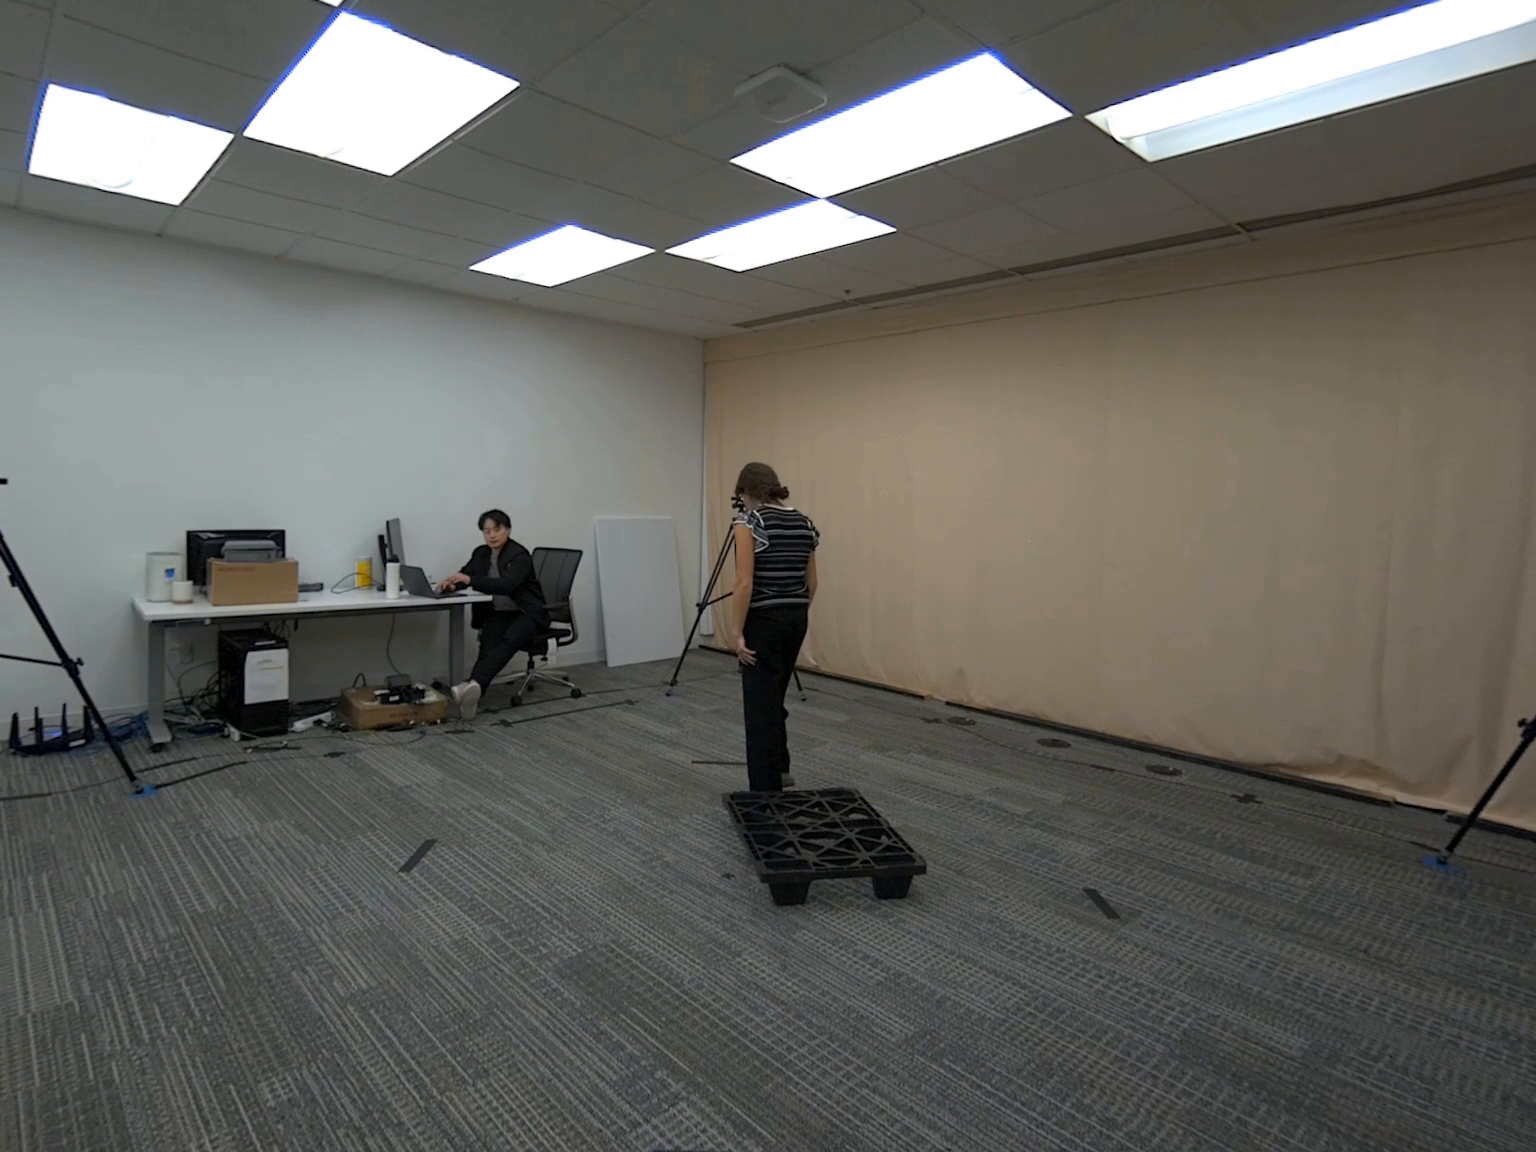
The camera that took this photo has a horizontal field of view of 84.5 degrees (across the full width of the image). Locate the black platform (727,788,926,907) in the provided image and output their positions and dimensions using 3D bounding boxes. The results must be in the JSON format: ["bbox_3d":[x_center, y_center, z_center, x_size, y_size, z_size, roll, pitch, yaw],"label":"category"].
[{"bbox_3d":[0.174,1.032,3.273,0.599,0.143,0.815,2,5,-12],"label":"black platform"}]
